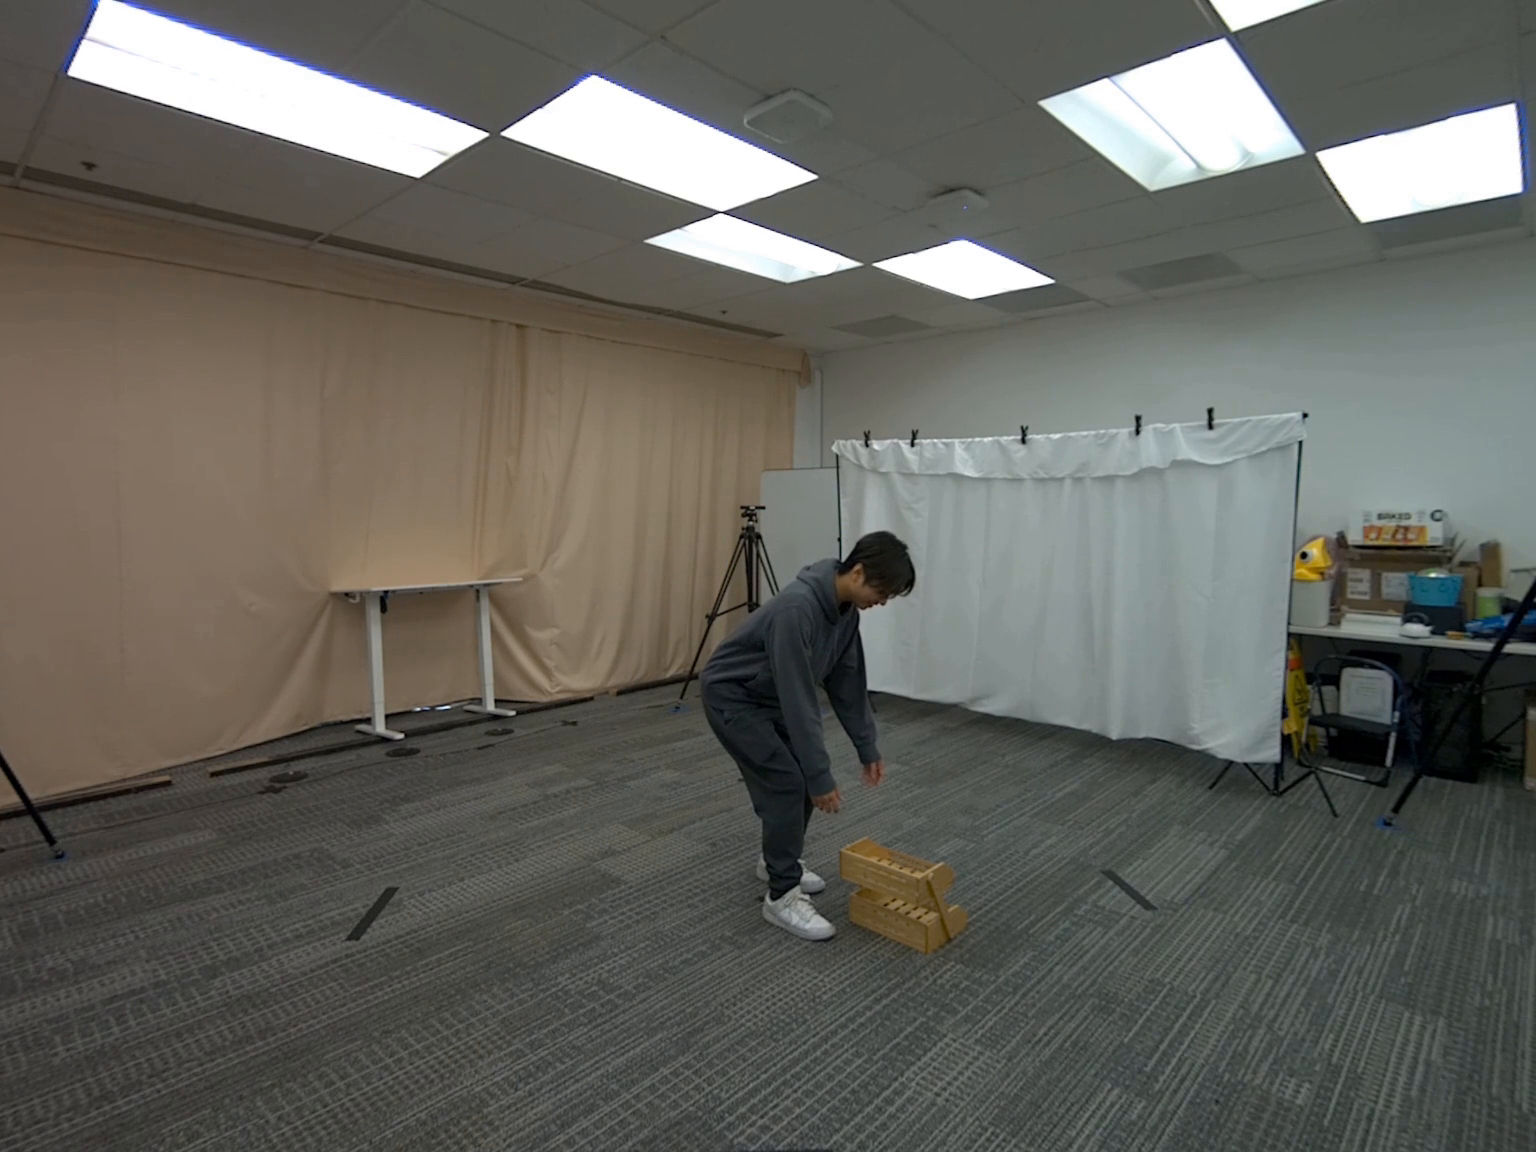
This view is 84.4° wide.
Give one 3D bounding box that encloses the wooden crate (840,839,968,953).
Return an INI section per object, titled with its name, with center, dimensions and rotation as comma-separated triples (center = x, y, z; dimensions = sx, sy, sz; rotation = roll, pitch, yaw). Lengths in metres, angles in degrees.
[wooden crate]
center = 0.455, 1.029, 2.778
dimensions = 0.335, 0.272, 0.293
rotation = 3, 6, 43
